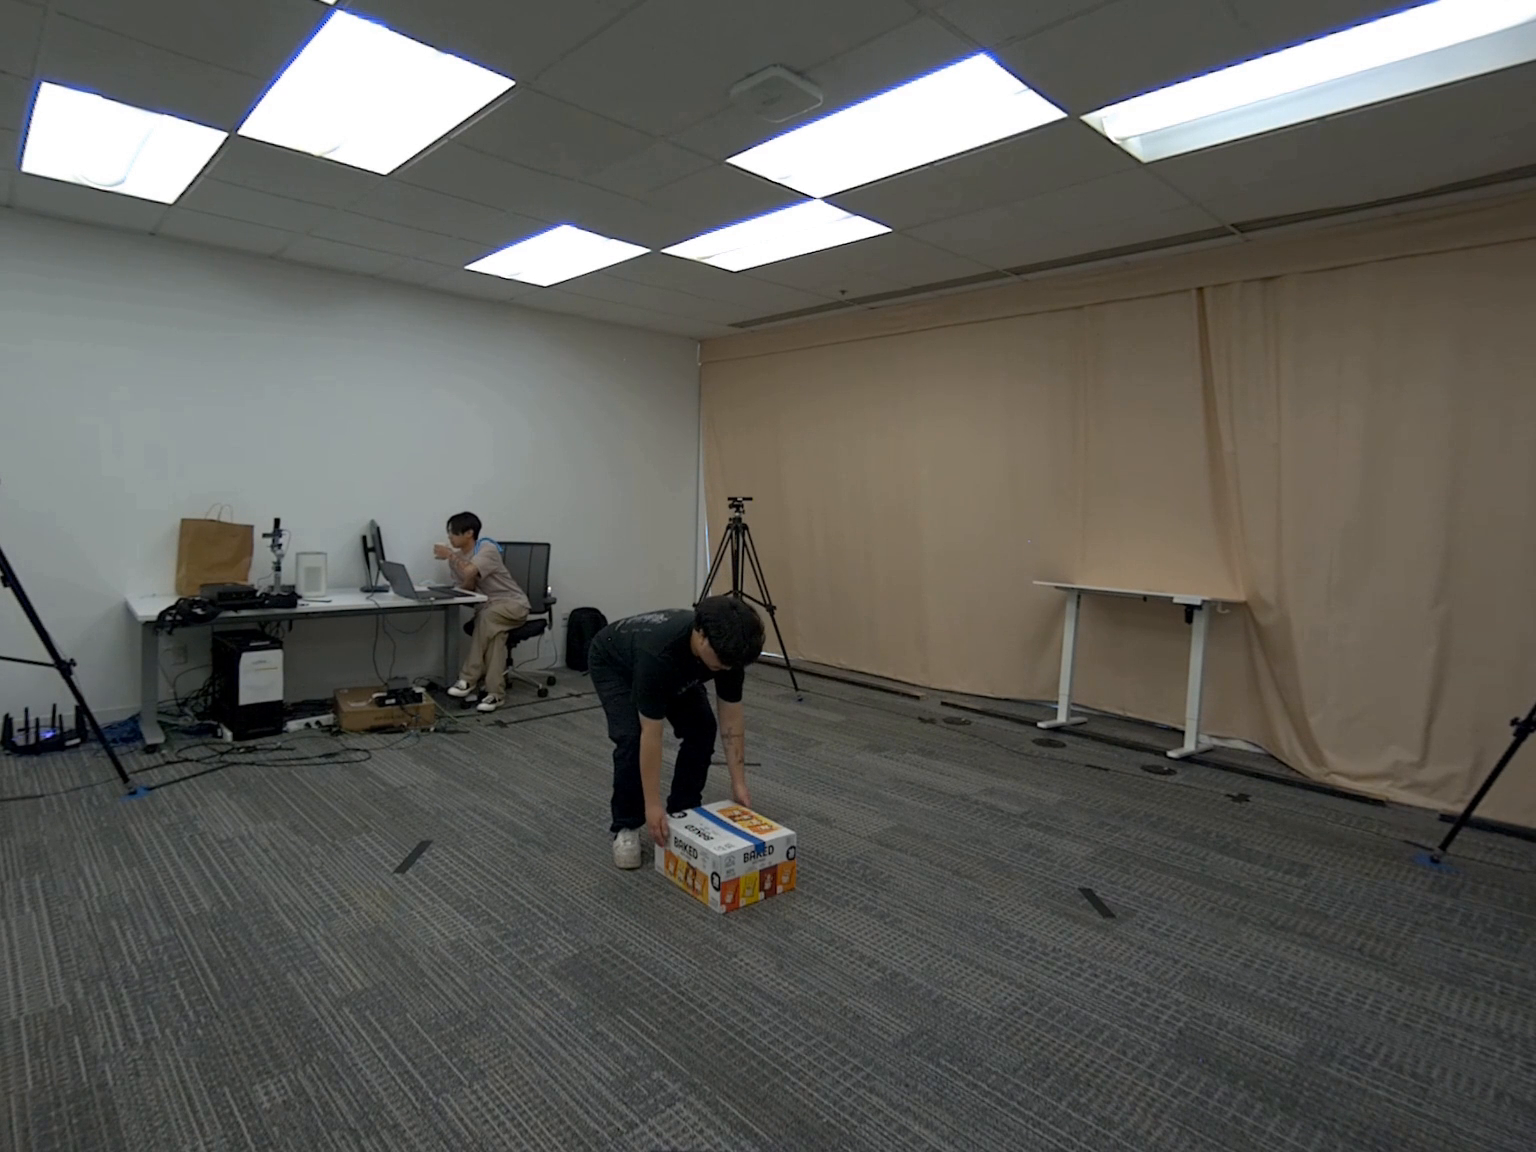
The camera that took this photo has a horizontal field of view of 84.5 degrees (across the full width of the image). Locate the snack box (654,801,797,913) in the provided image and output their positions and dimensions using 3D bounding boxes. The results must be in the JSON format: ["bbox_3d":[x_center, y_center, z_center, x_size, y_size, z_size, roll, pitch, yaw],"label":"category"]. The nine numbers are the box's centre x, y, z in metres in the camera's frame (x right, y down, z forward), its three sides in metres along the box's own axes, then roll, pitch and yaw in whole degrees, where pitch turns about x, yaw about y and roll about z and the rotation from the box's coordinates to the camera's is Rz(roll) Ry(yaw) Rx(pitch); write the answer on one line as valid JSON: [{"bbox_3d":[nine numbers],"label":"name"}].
[{"bbox_3d":[-0.165,1.009,3.065,0.333,0.205,0.415,-2,6,-39],"label":"snack box"}]
